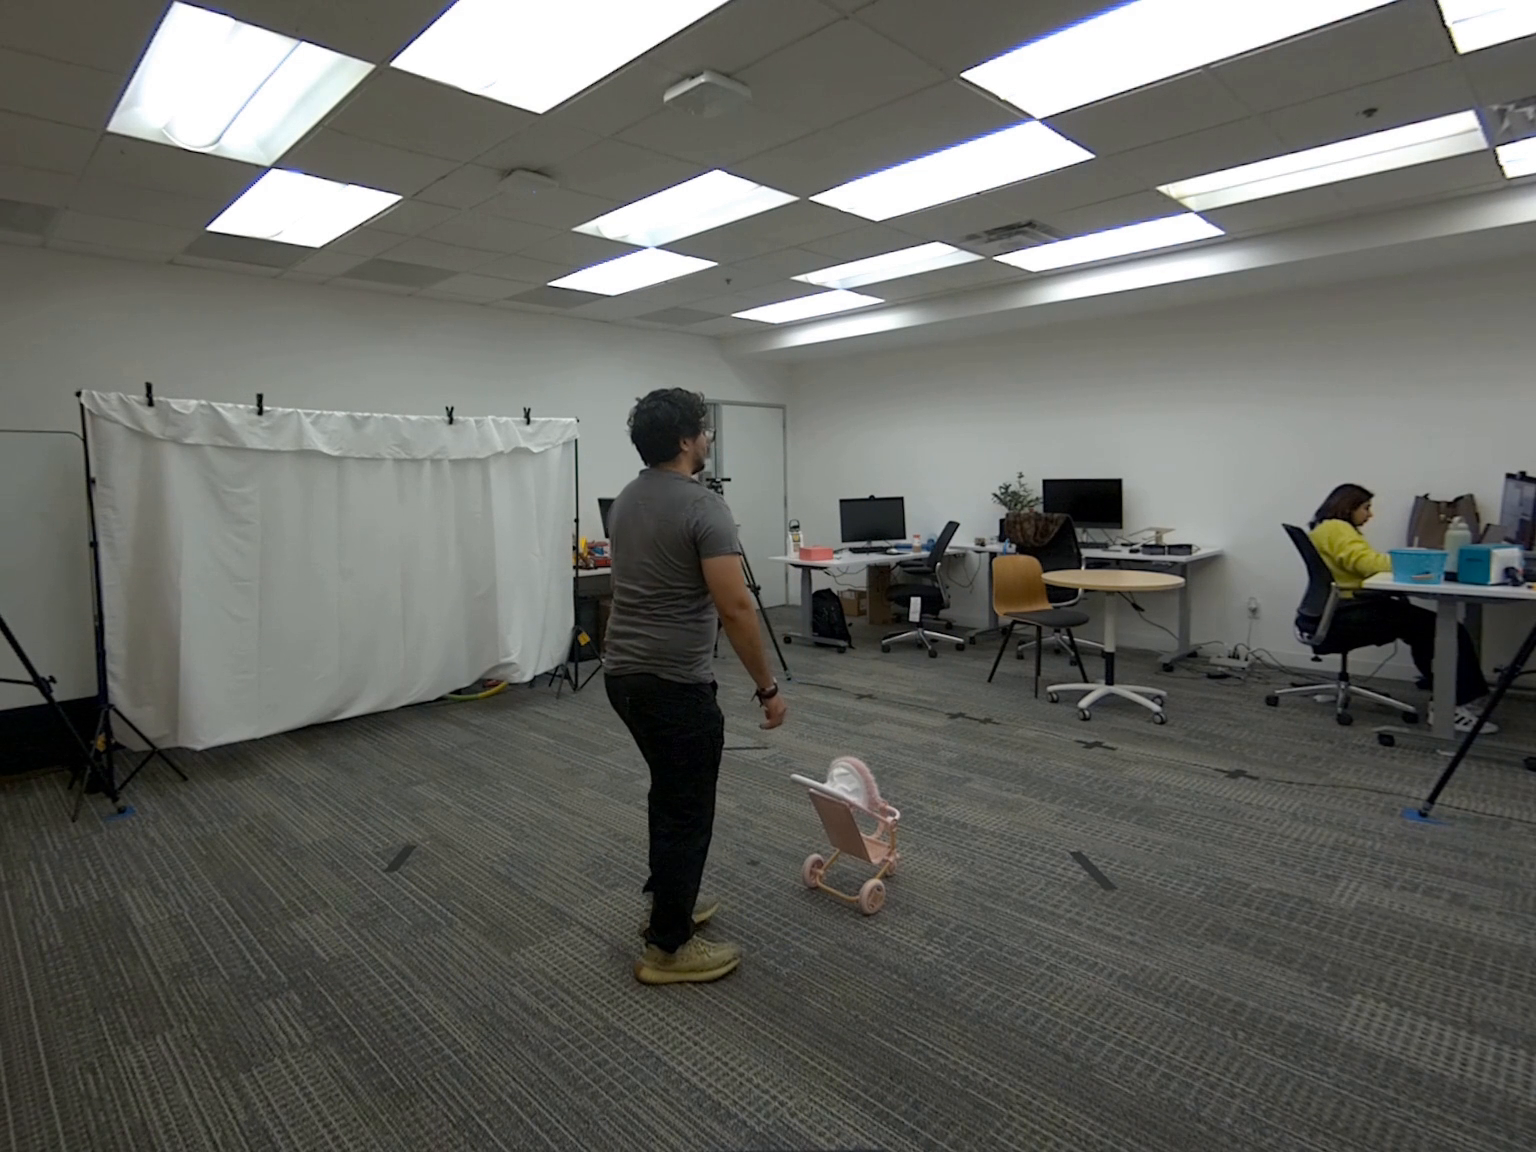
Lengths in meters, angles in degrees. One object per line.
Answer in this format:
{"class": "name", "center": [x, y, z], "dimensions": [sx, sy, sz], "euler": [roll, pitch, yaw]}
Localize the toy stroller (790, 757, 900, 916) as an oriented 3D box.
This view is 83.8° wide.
{"class": "toy stroller", "center": [0.292, 0.836, 2.851], "dimensions": [0.336, 0.527, 0.290], "euler": [-22, 17, -36]}
